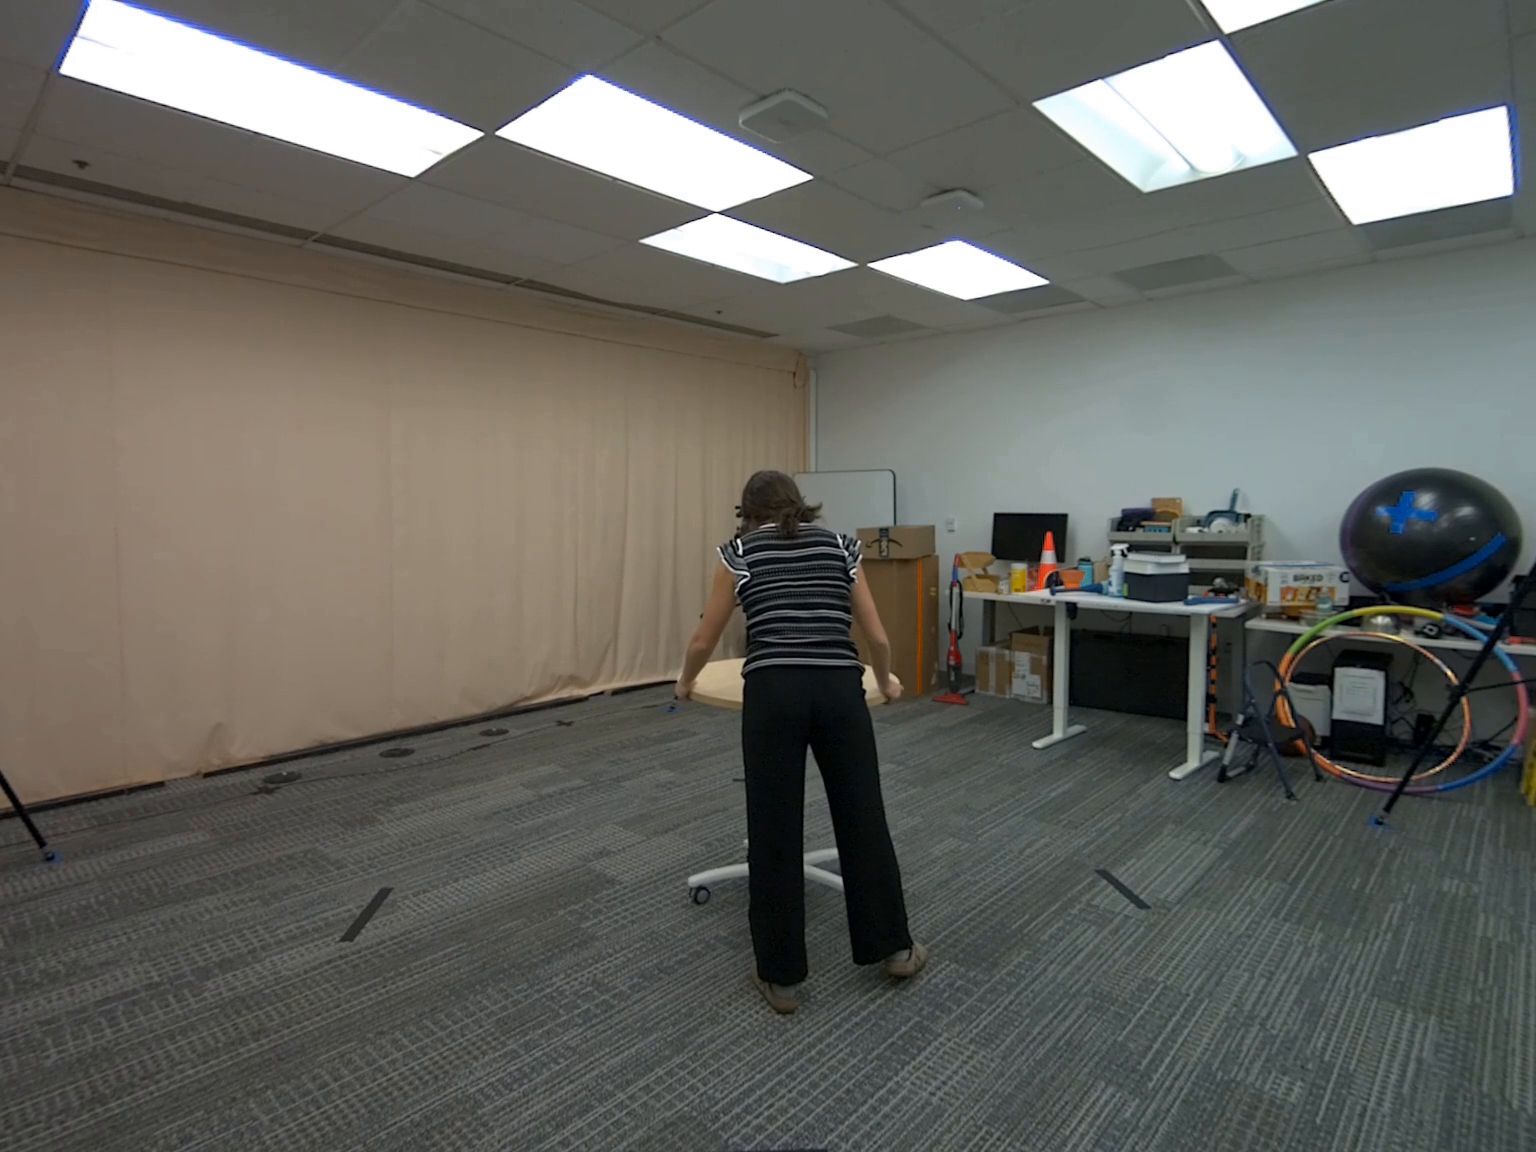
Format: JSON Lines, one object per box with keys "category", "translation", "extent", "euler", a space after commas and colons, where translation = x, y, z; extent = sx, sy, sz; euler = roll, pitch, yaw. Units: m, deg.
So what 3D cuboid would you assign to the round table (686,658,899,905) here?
{"category": "round table", "translation": [0.070, 0.748, 2.940], "extent": [0.784, 0.784, 0.788], "euler": [0, 4, -2]}
